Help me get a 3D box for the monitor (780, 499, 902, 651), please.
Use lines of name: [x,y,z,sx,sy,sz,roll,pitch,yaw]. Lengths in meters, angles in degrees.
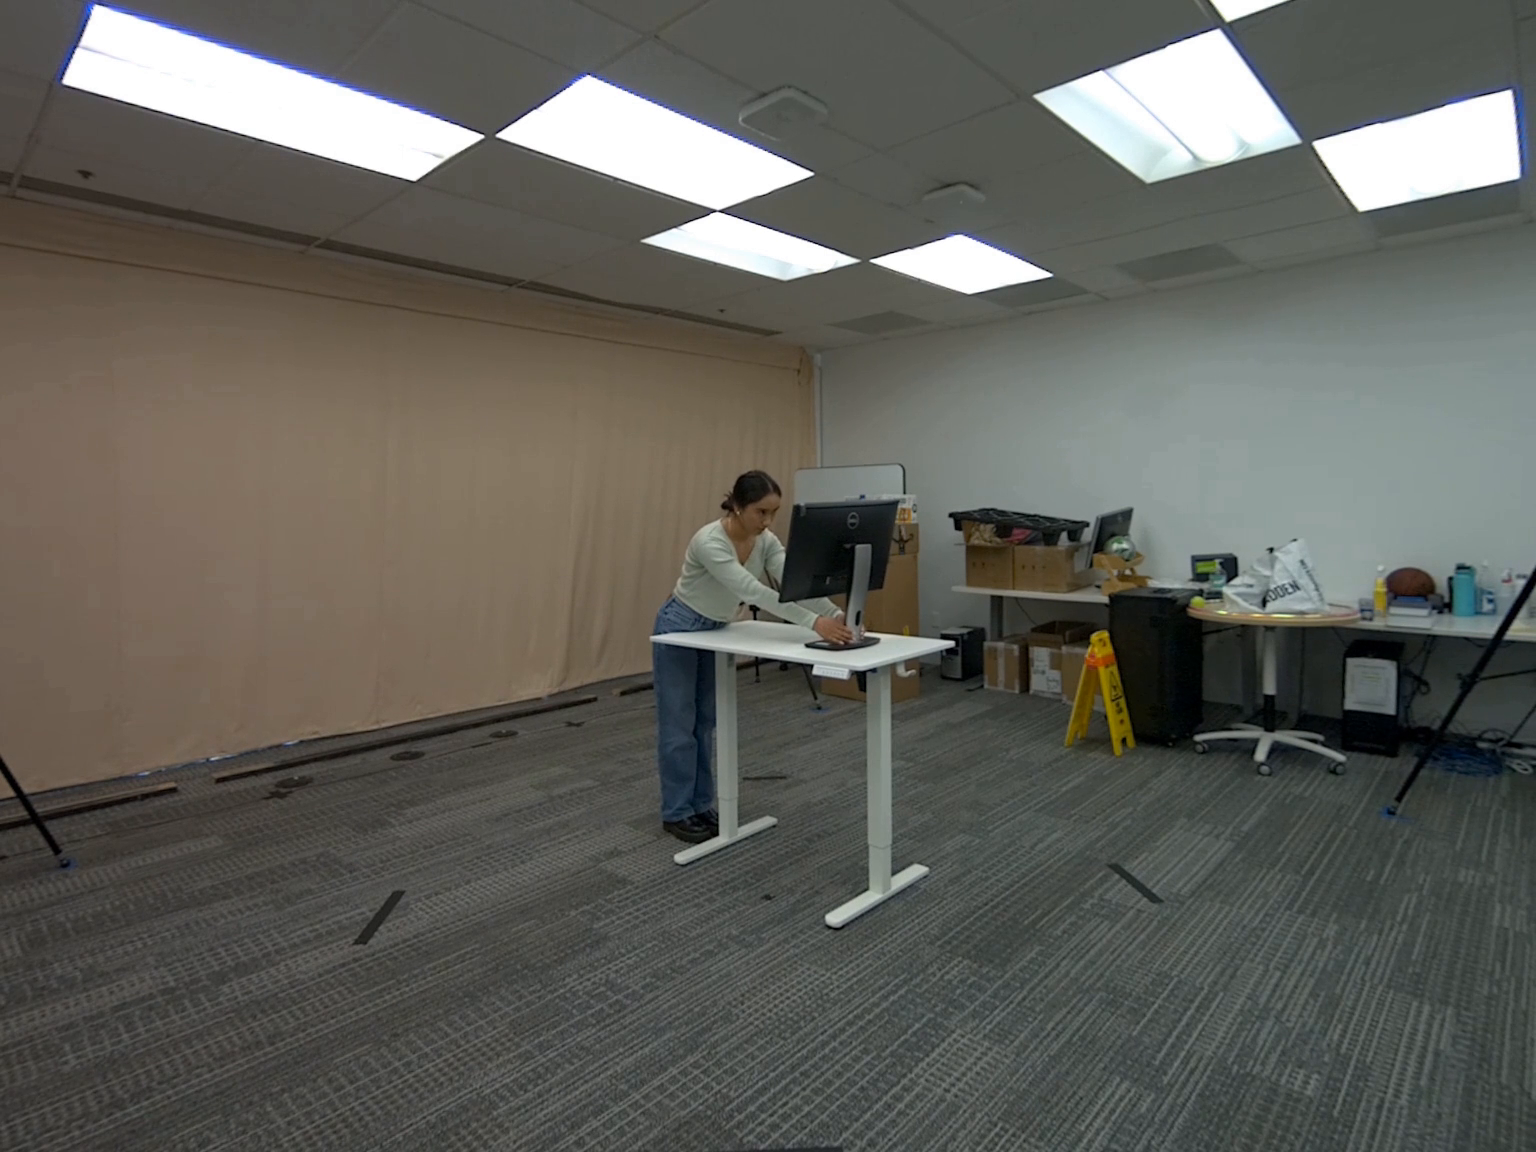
monitor: [0.290,-0.005,2.999,0.523,0.521,0.193,-5,7,-42]
